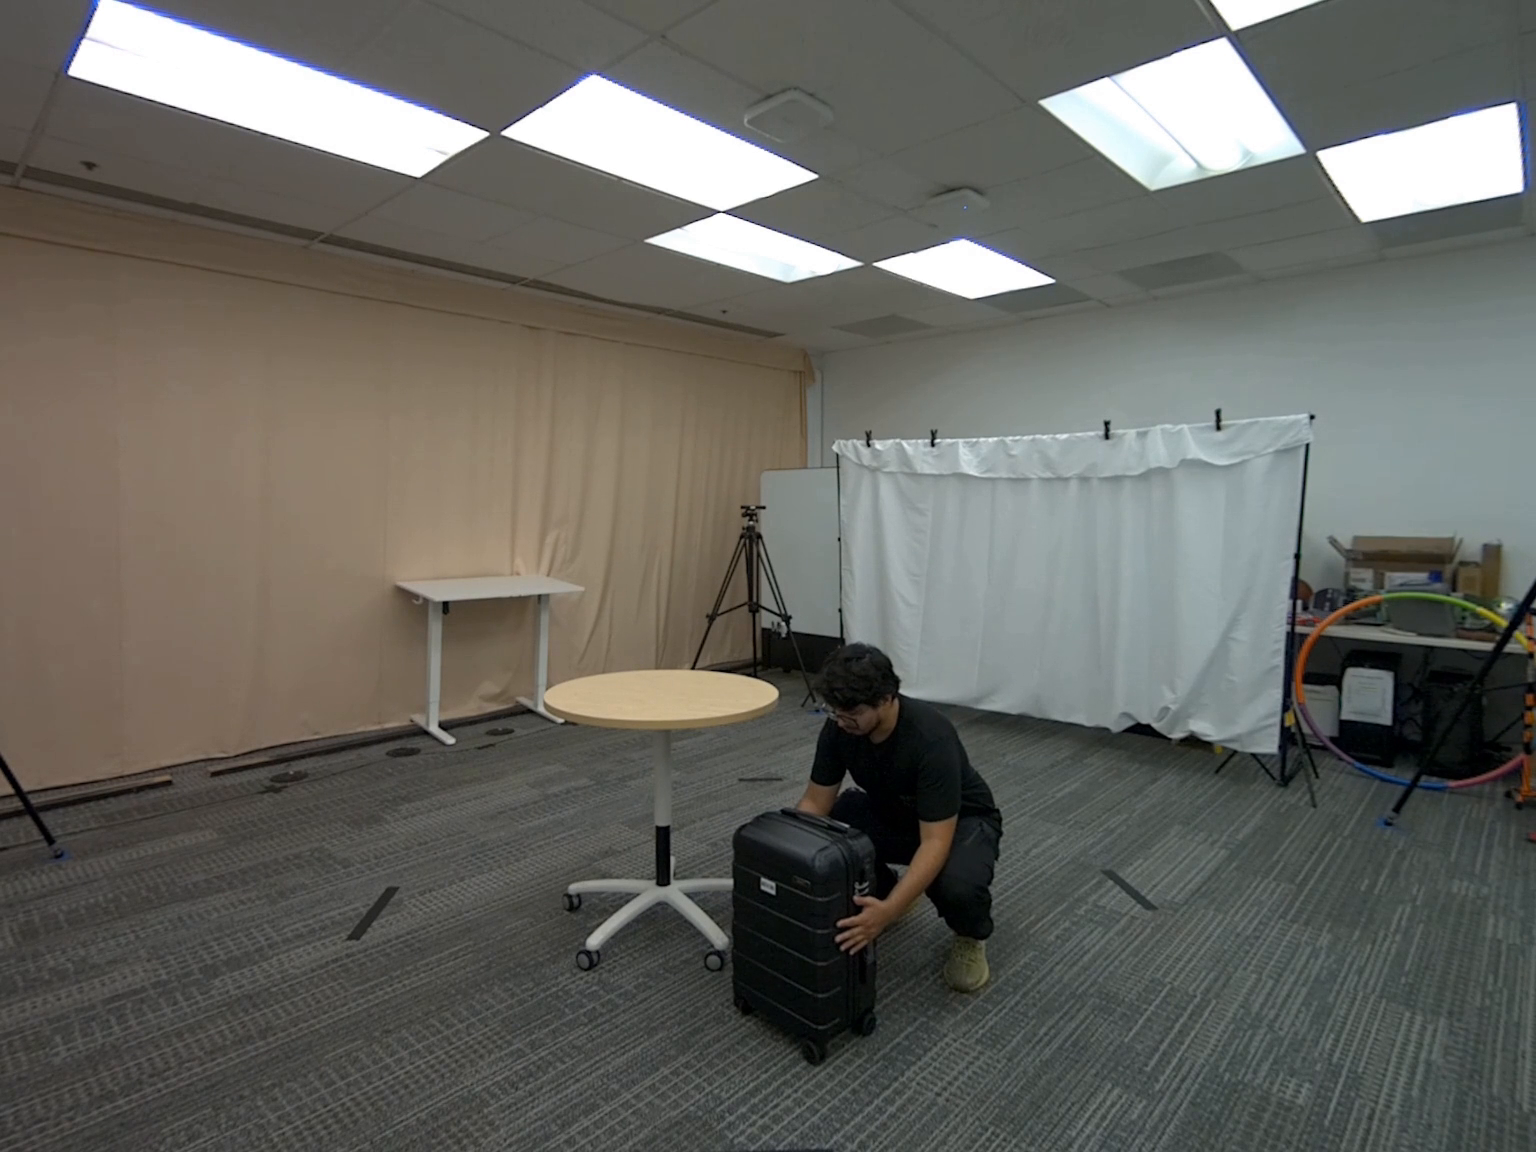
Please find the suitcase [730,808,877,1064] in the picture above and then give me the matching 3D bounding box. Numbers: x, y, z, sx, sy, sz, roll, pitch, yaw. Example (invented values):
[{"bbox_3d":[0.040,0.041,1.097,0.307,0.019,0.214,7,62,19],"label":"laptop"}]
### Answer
[{"bbox_3d":[0.105,0.932,2.262,0.388,0.548,0.241,4,6,42],"label":"suitcase"}]
